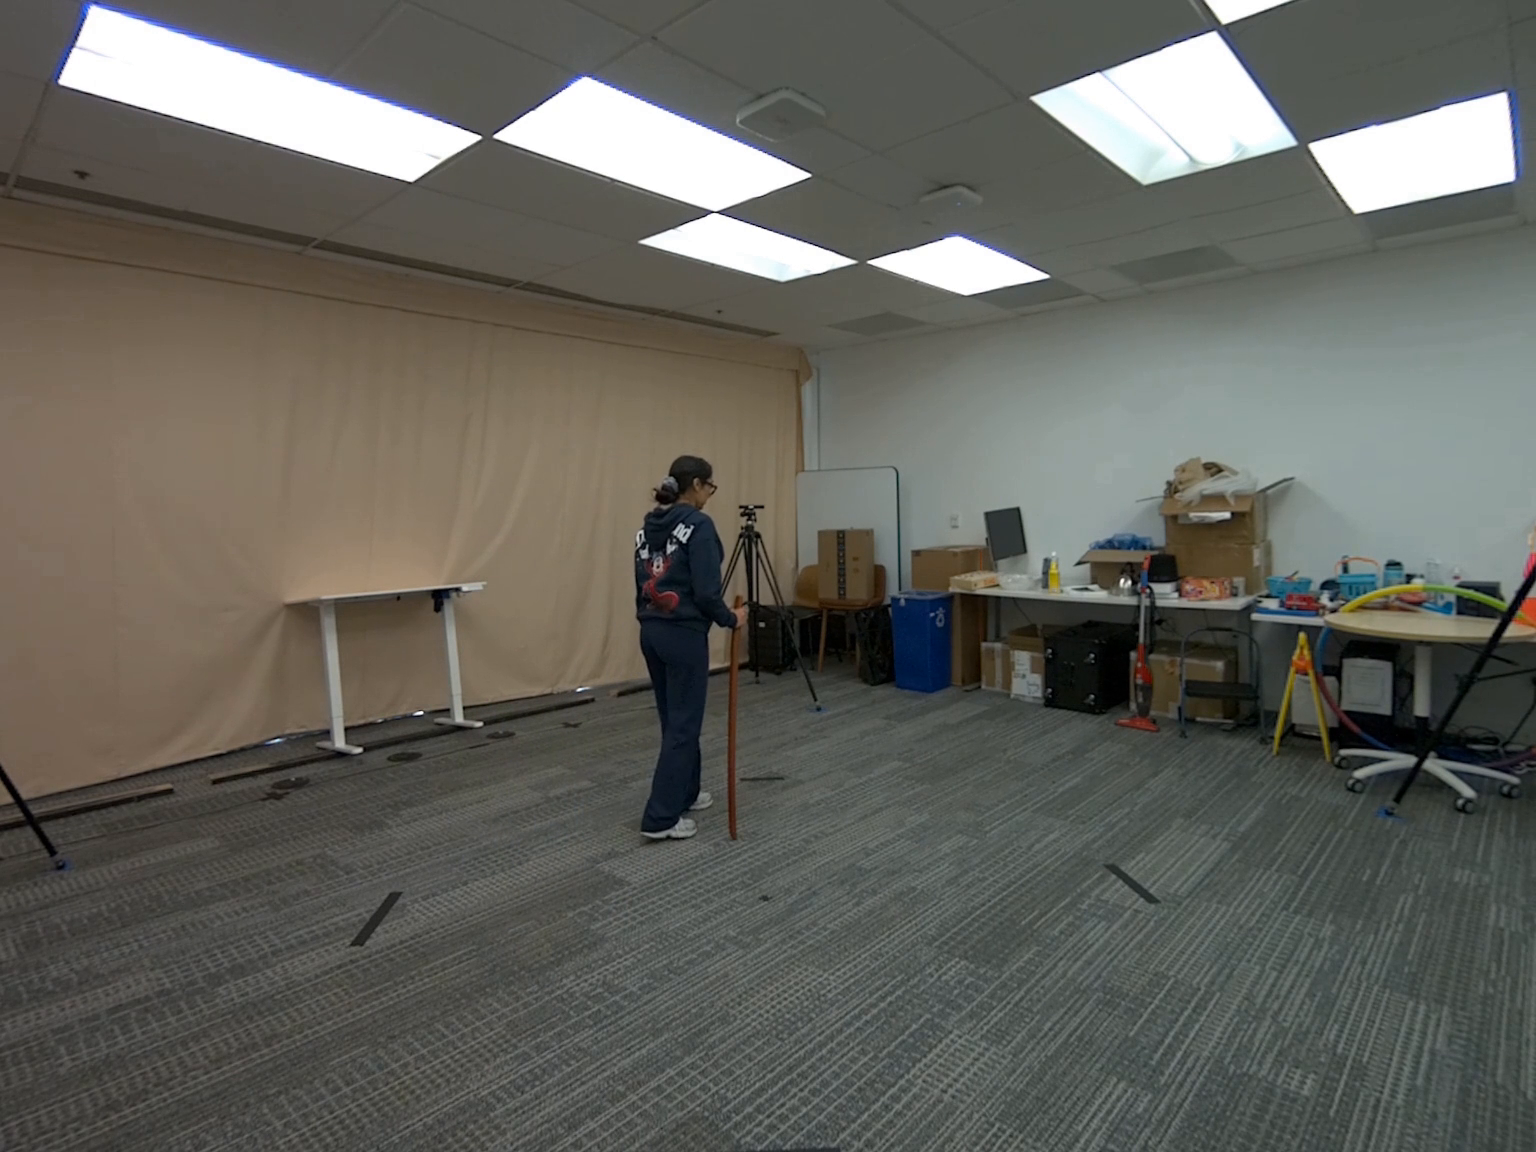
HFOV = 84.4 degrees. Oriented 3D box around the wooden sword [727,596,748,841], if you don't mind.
[{"bbox_3d":[-0.138,0.608,3.597,0.053,1.032,0.023,-9,-16,38],"label":"wooden sword"}]
